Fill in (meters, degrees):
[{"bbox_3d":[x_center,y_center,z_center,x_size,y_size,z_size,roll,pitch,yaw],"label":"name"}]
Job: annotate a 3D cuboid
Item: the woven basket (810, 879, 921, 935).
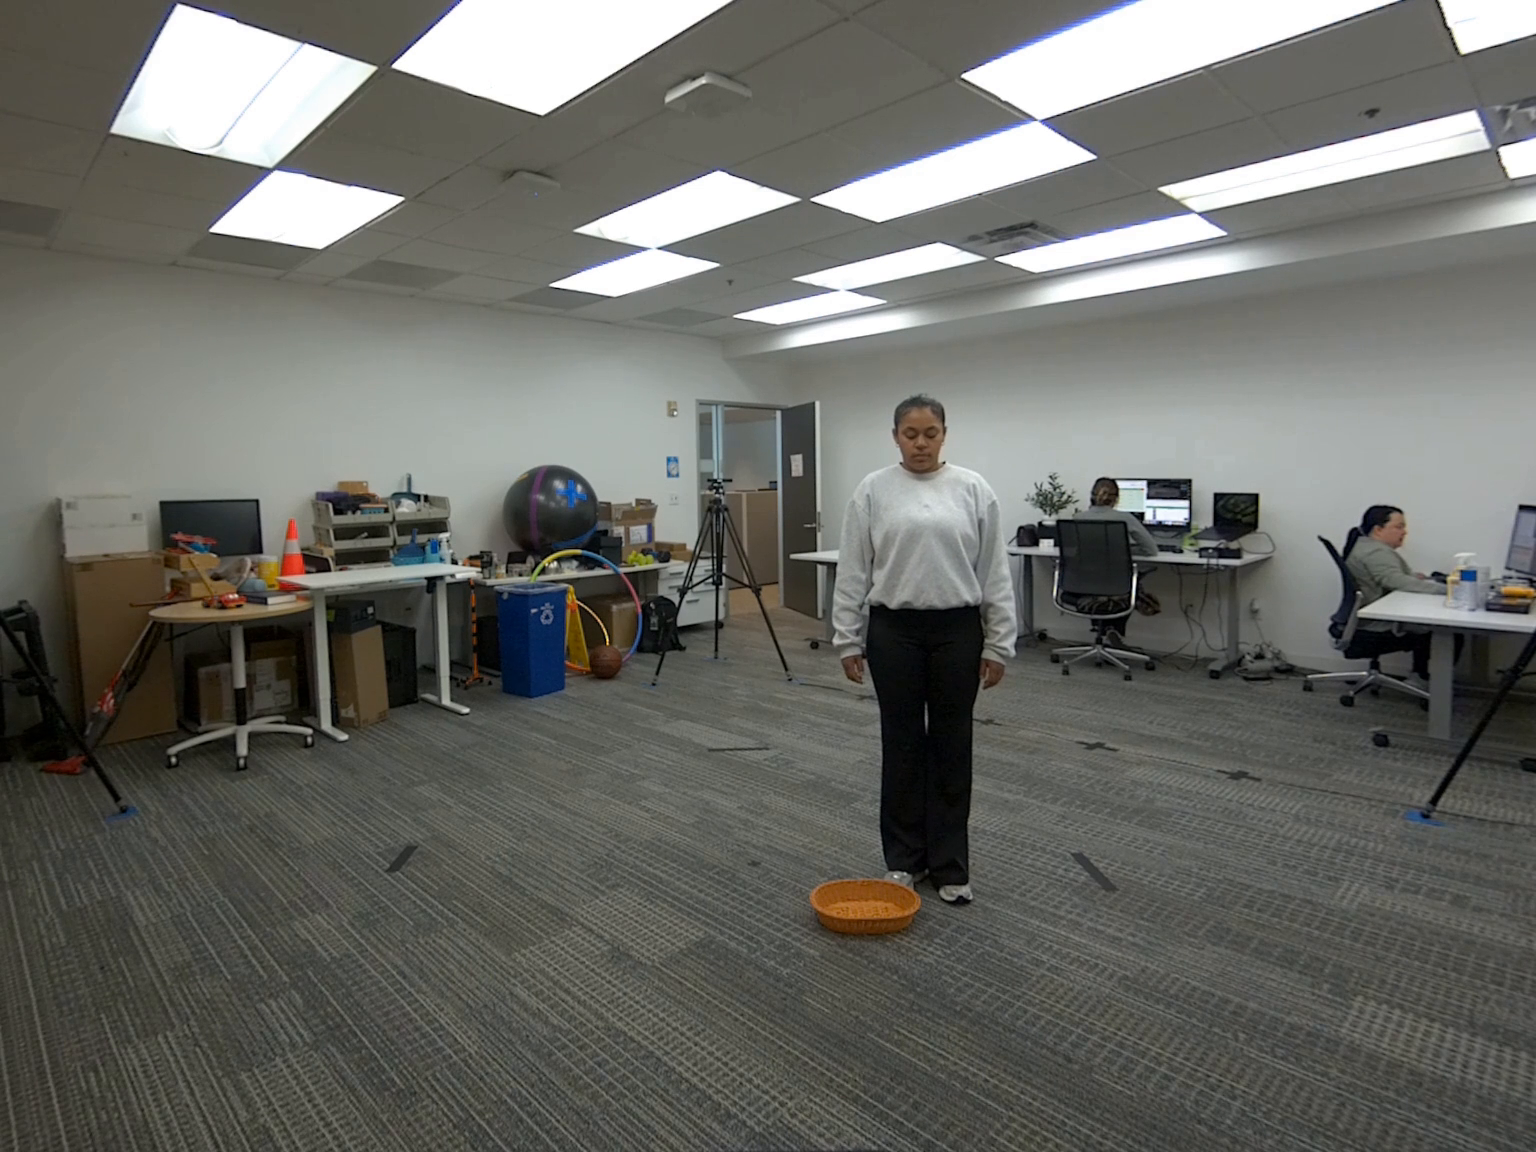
[{"bbox_3d":[0.306,1.046,2.695,0.351,0.073,0.253,-1,5,2],"label":"woven basket"}]
